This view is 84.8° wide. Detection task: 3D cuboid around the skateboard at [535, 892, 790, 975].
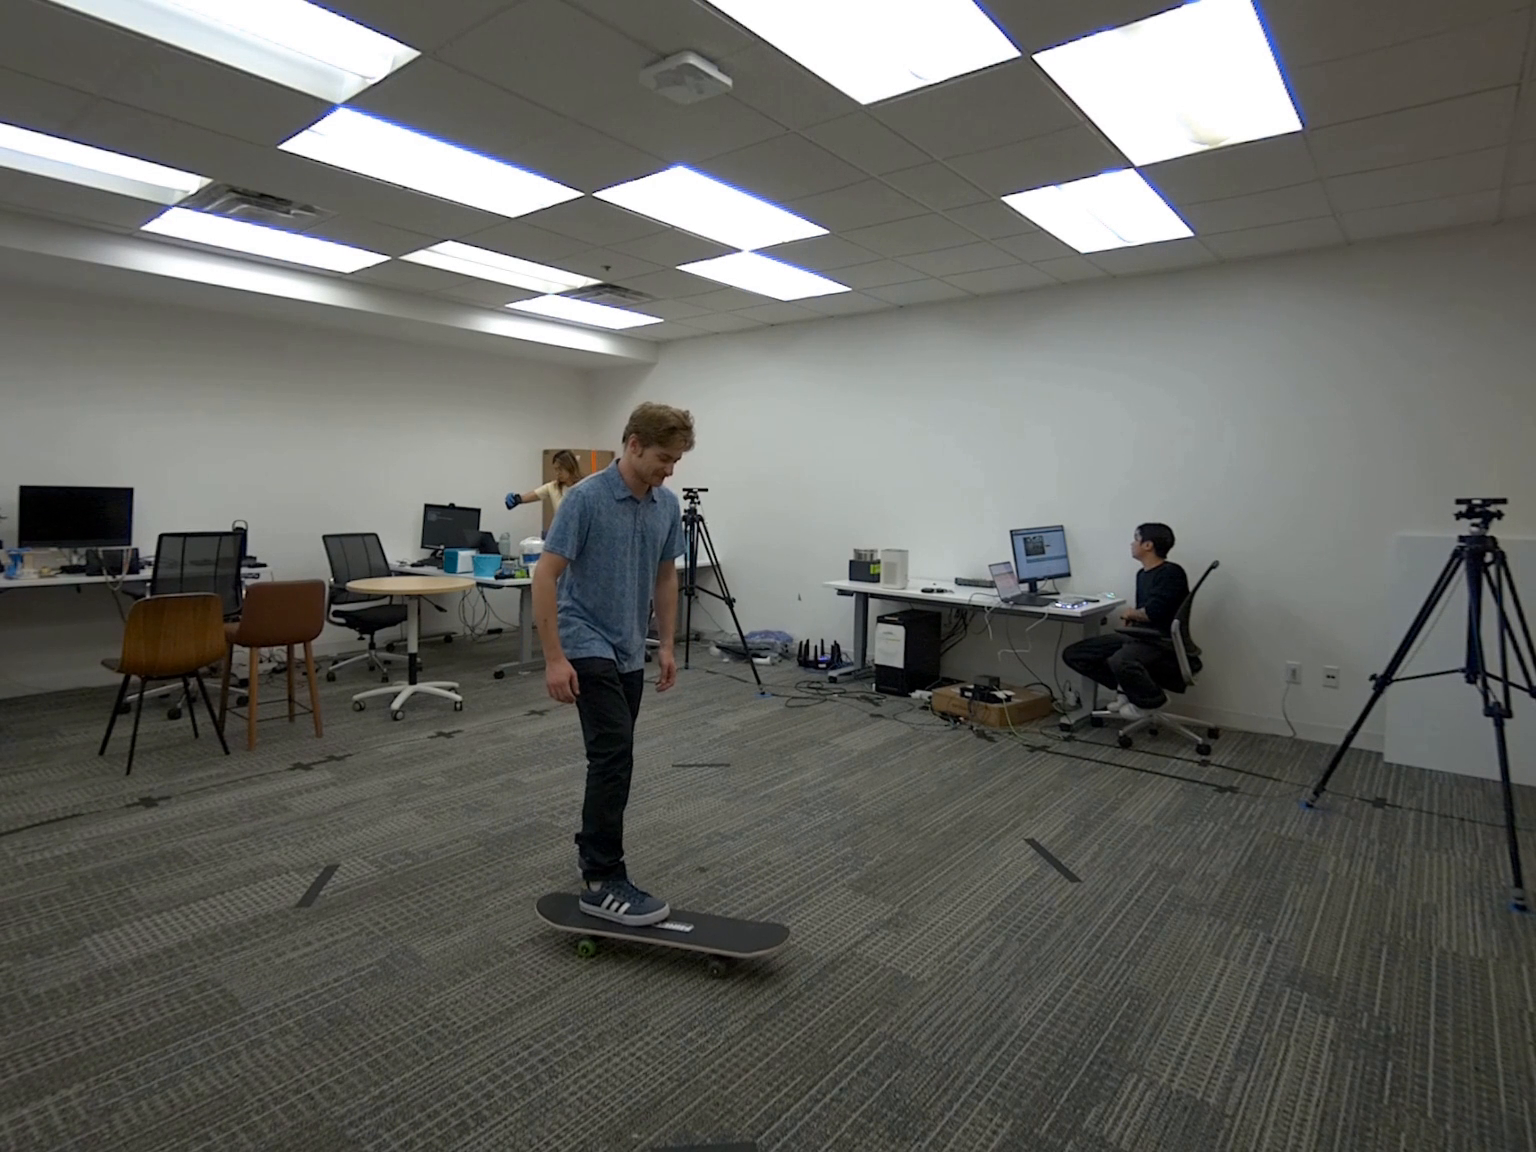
[{"bbox_3d":[-0.332,1.063,2.546,0.797,0.110,0.191,2,5,13],"label":"skateboard"}]
